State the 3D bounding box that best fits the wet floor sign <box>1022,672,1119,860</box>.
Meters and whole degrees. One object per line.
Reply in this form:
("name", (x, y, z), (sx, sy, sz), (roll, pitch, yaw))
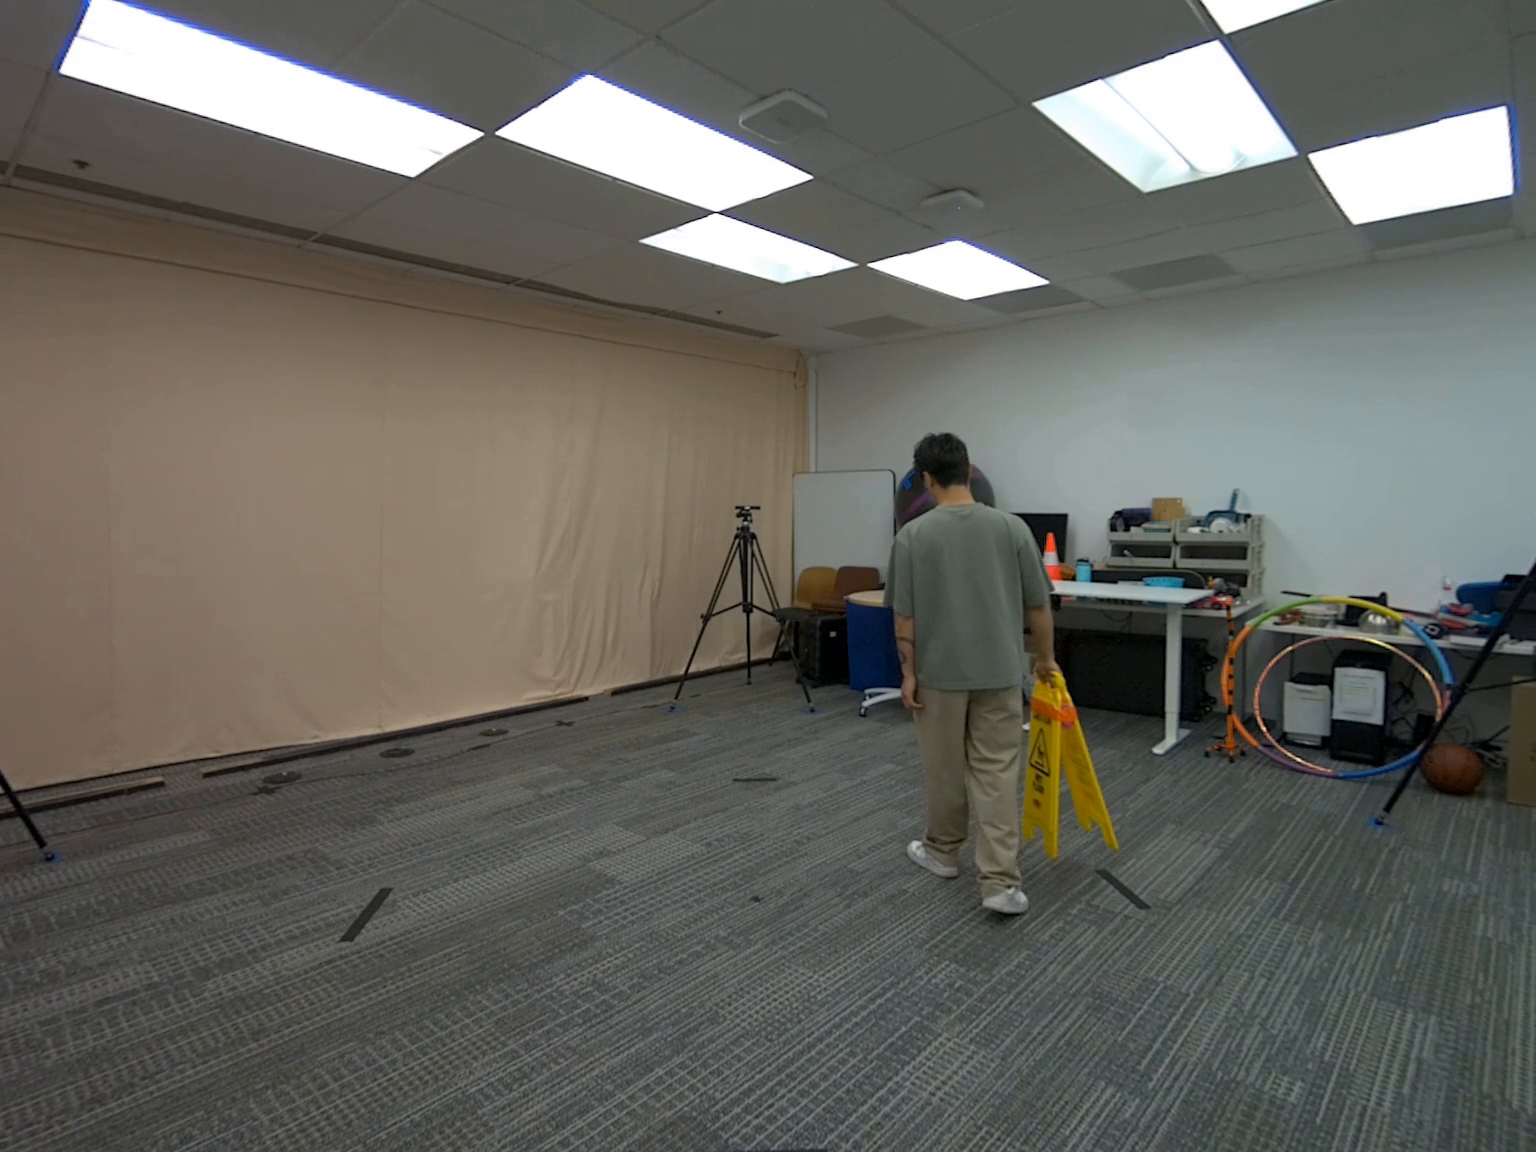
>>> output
("wet floor sign", (1.094, 0.678, 3.137), (0.289, 0.646, 0.283), (-7, -1, -4))
